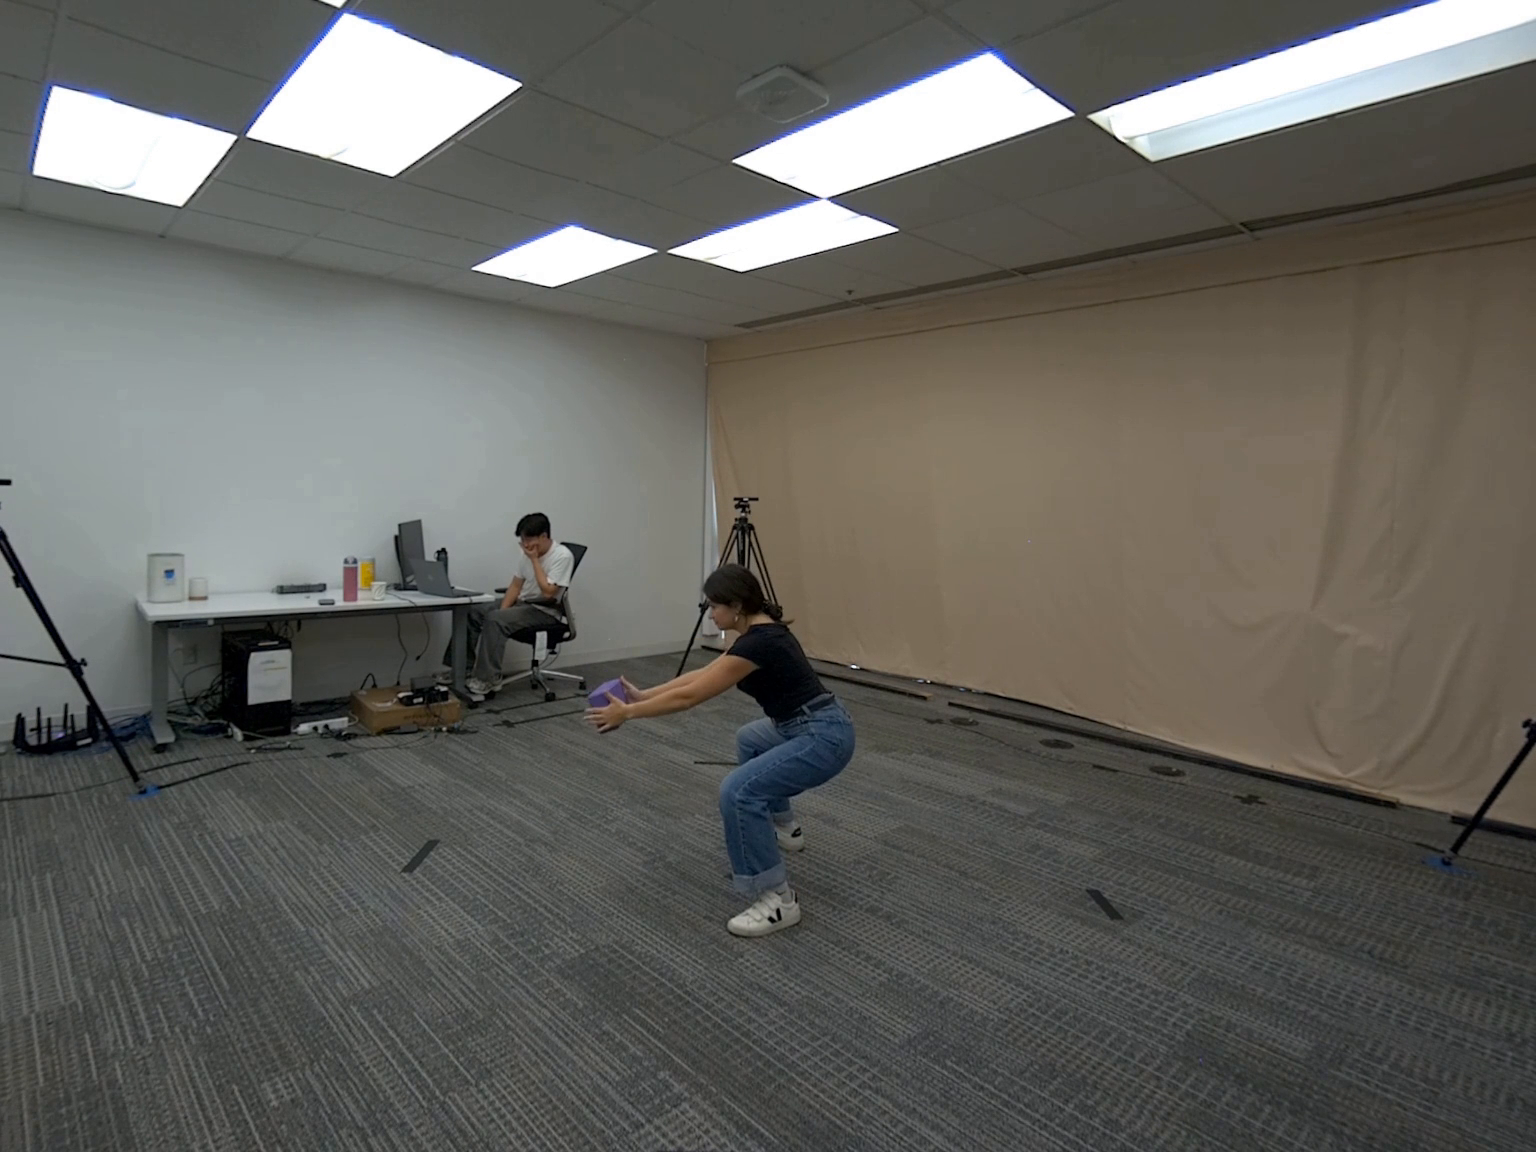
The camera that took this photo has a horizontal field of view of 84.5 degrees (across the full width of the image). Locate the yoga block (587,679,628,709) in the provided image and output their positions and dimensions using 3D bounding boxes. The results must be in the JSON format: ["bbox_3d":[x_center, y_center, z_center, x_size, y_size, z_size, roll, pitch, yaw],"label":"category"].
[{"bbox_3d":[-0.593,0.474,3.134,0.076,0.148,0.229,-15,4,4],"label":"yoga block"}]
